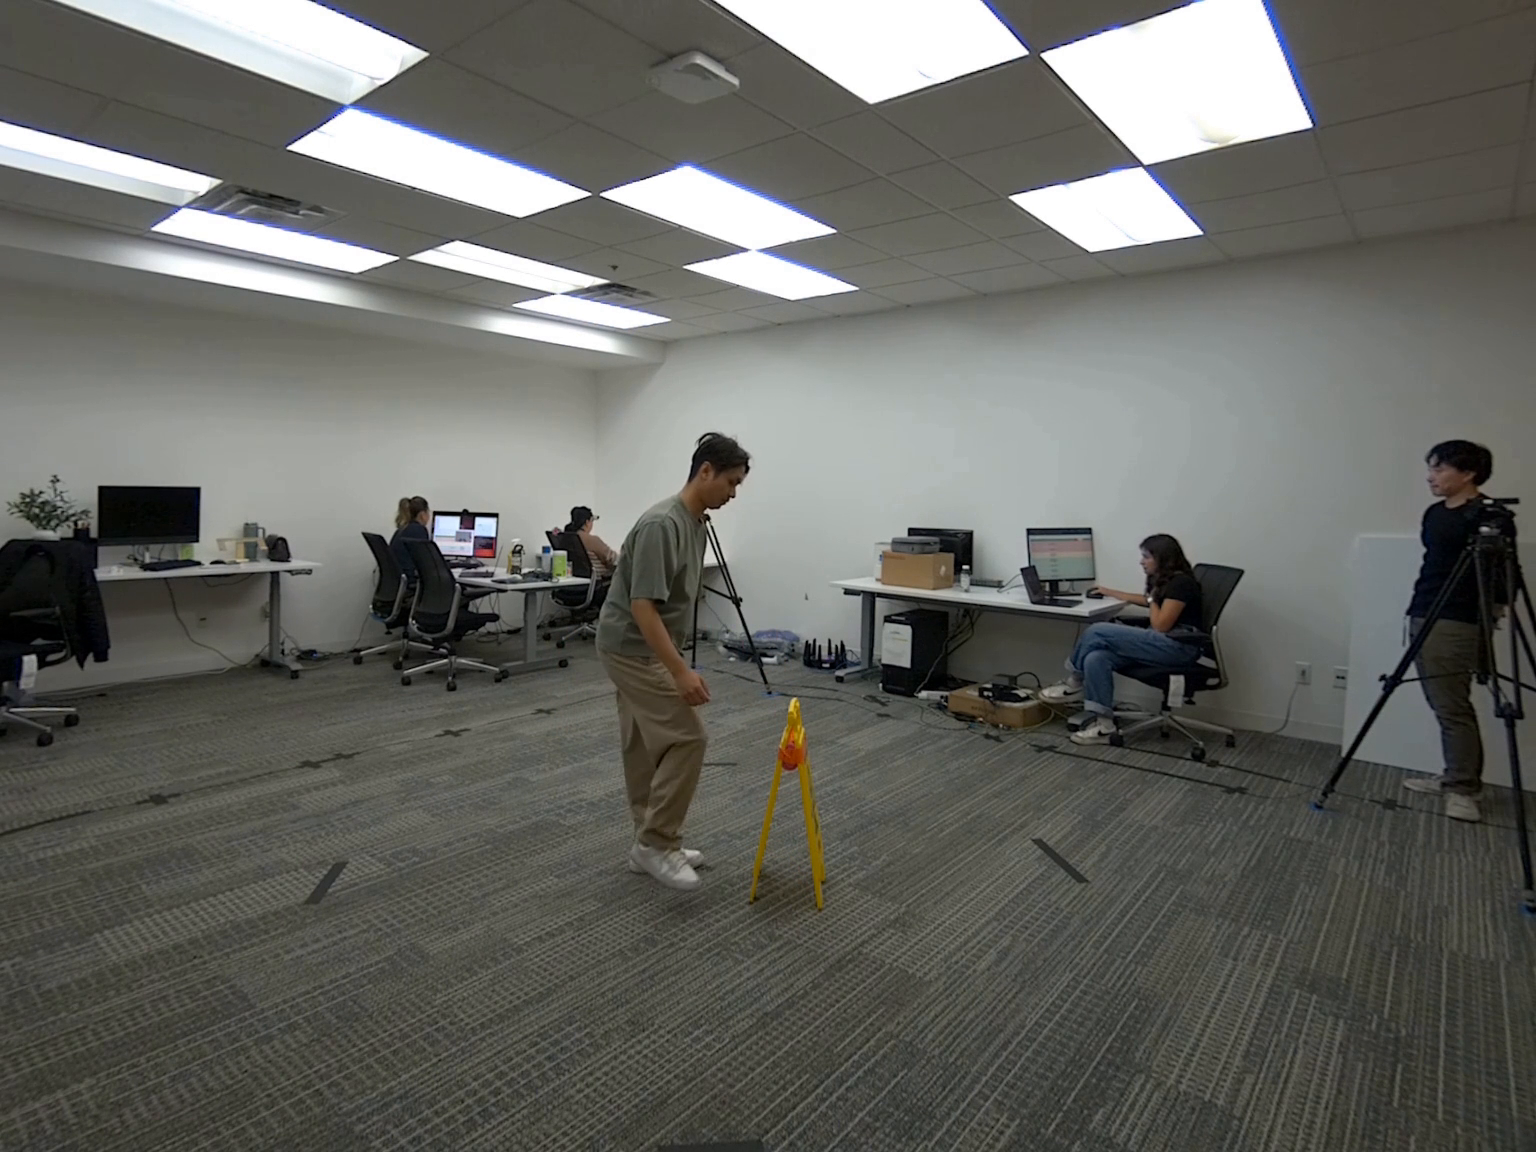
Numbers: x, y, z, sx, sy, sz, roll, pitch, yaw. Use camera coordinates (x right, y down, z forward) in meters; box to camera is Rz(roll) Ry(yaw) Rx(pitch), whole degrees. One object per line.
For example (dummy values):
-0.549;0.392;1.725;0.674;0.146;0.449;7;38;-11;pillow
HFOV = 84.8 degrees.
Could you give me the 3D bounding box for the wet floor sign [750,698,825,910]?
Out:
0.077;0.770;2.957;0.292;0.644;0.281;4;4;6;wet floor sign
